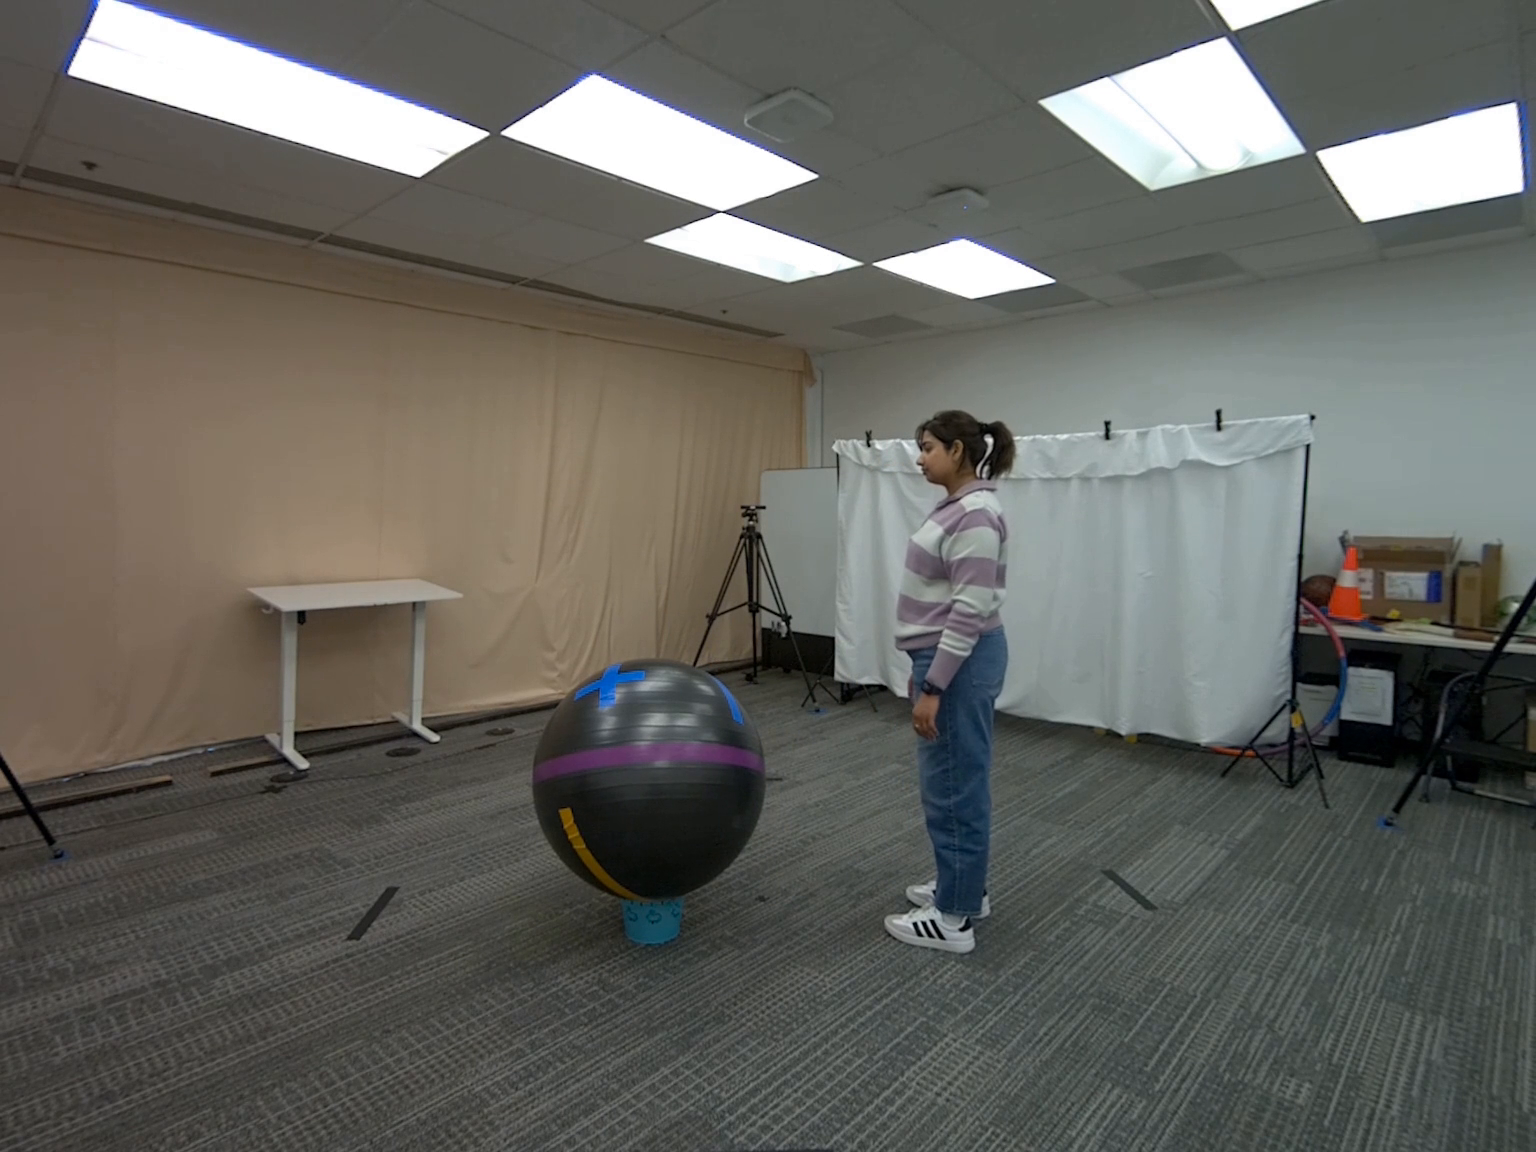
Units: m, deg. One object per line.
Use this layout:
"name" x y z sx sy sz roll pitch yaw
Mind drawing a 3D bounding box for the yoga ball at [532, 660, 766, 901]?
"yoga ball" -0.382 0.658 2.762 0.757 0.756 0.760 0 4 -2
